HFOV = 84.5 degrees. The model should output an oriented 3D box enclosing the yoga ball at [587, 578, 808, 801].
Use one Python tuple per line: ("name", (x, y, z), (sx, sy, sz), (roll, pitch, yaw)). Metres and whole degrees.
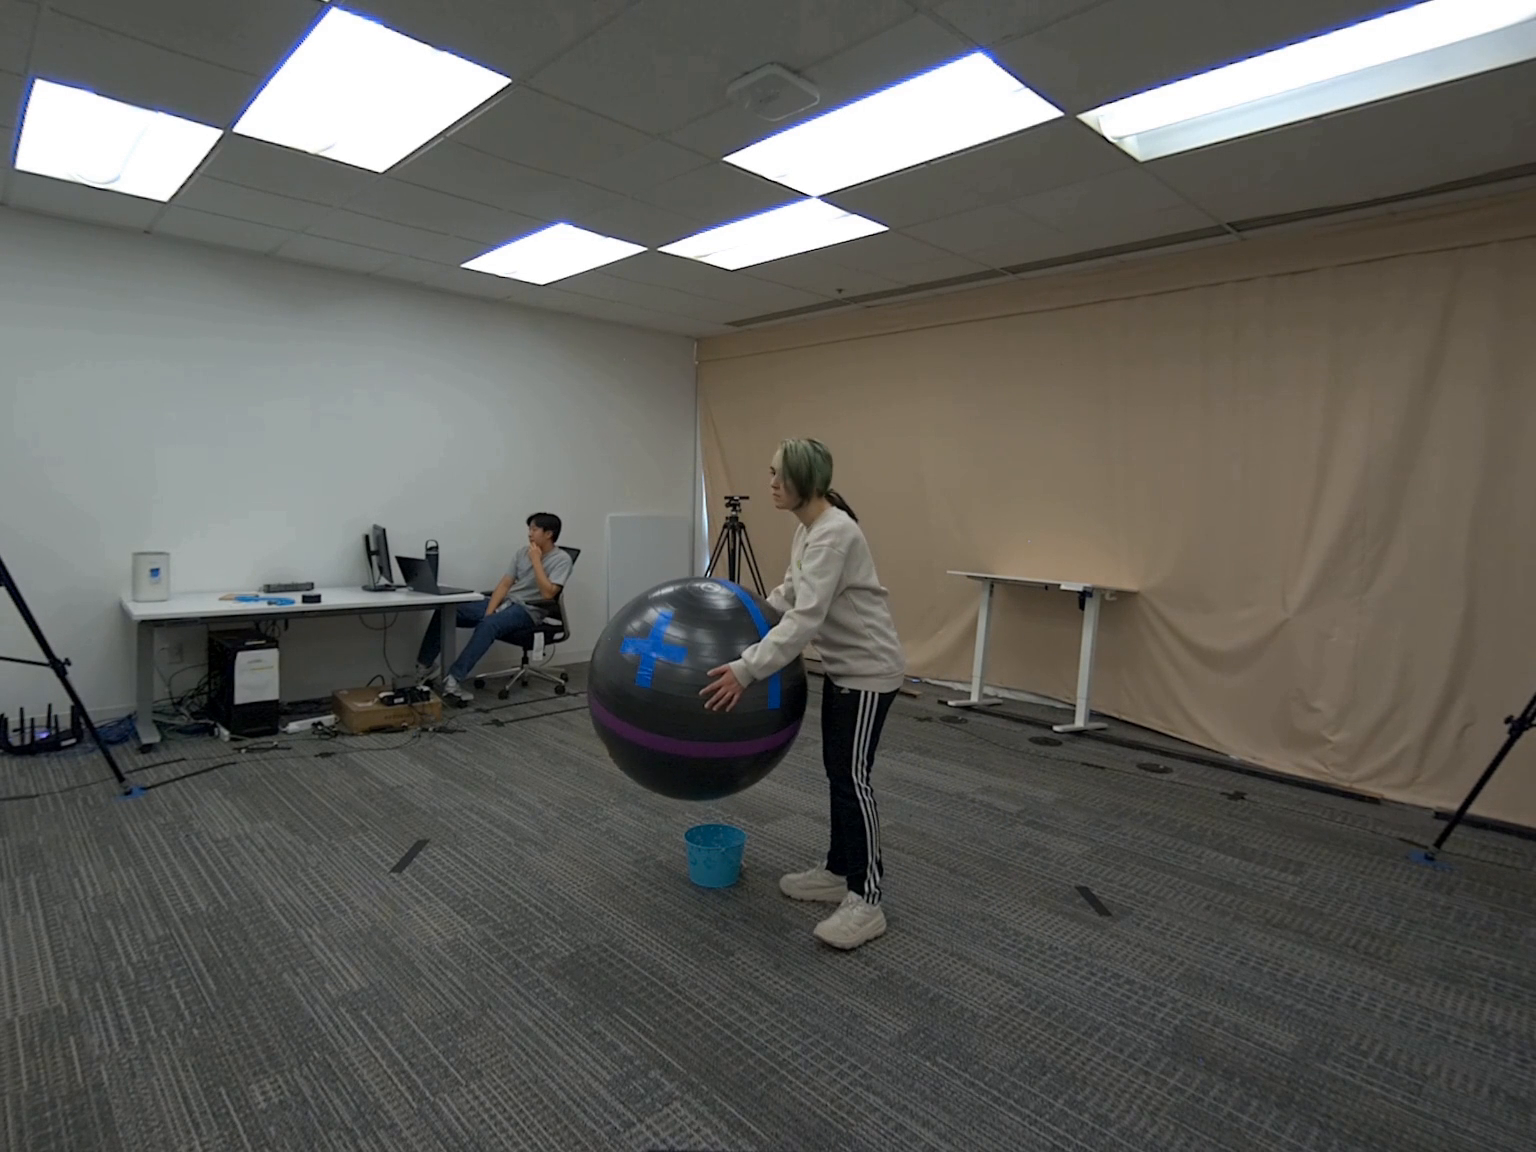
("yoga ball", (-0.238, 0.391, 2.906), (0.757, 0.756, 0.761), (1, 4, -1))
